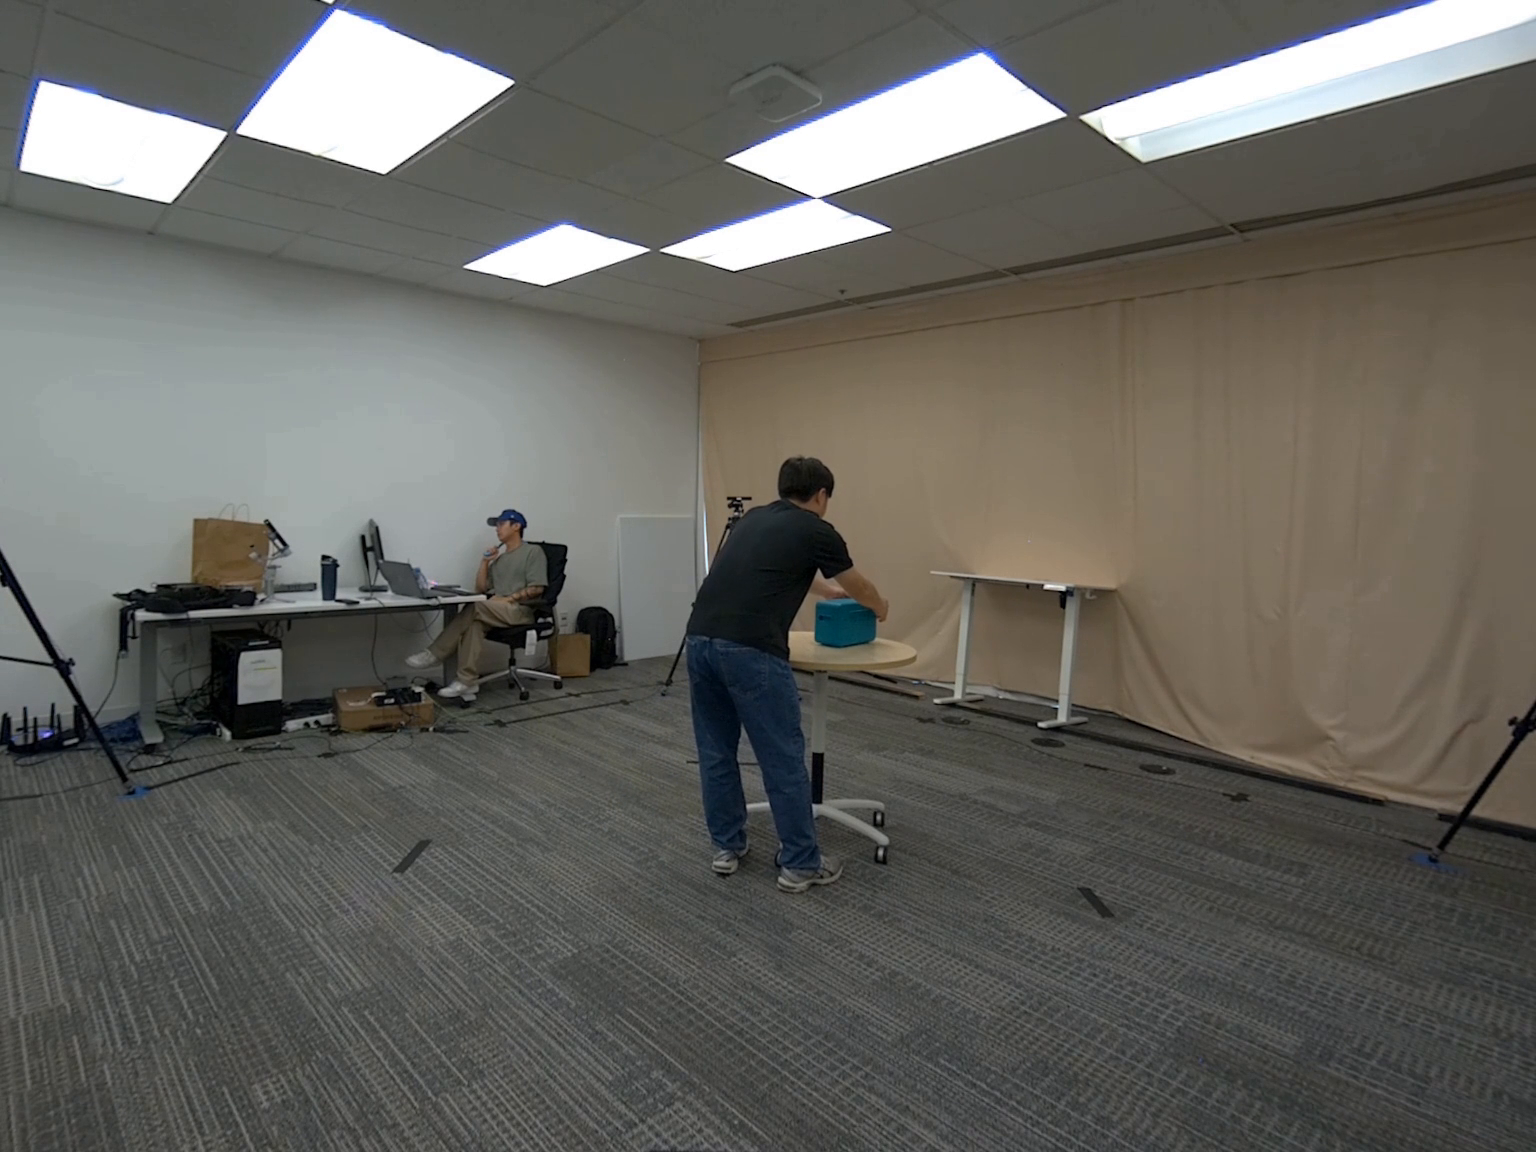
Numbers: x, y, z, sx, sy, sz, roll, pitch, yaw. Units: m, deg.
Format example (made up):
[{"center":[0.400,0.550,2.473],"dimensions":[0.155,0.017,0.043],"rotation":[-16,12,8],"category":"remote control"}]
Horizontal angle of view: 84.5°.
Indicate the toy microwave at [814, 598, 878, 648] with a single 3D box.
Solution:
[{"center":[0.322,0.195,3.552],"dimensions":[0.156,0.183,0.280],"rotation":[6,6,41],"category":"toy microwave"}]
